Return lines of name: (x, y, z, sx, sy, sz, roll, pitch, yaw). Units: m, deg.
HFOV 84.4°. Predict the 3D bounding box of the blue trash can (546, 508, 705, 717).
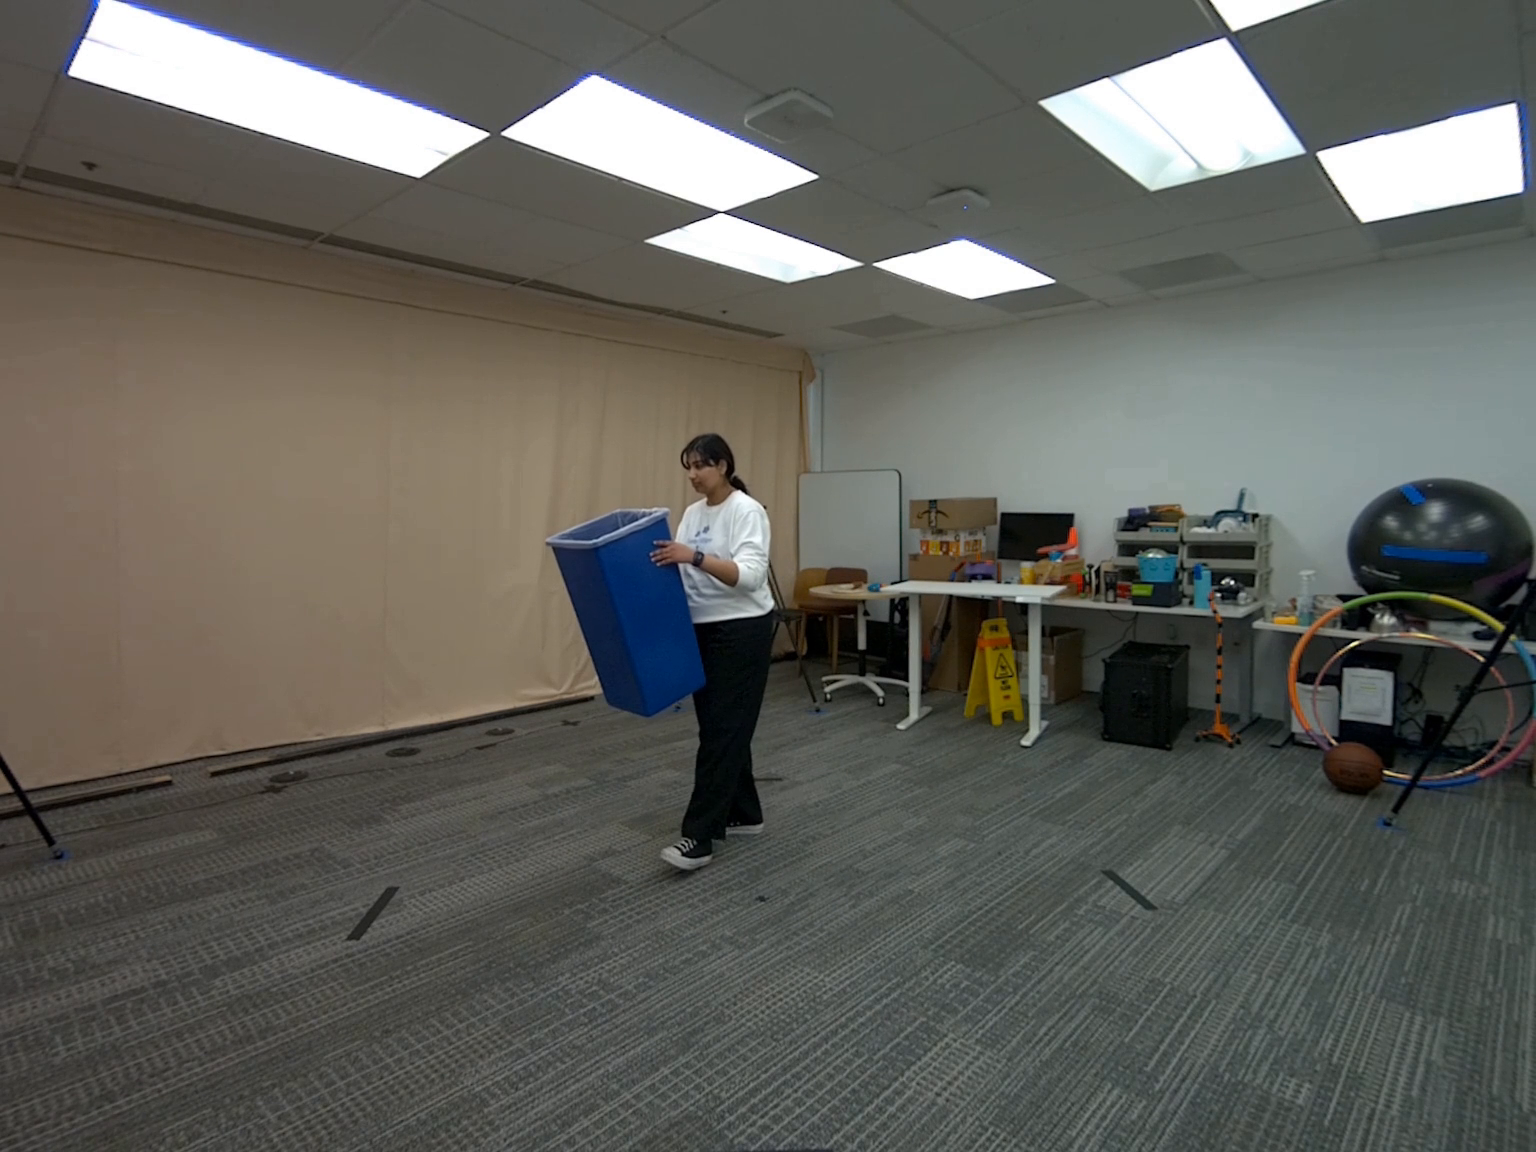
blue trash can: (-0.527, 0.138, 3.242, 0.366, 0.705, 0.390, -25, 18, -39)
